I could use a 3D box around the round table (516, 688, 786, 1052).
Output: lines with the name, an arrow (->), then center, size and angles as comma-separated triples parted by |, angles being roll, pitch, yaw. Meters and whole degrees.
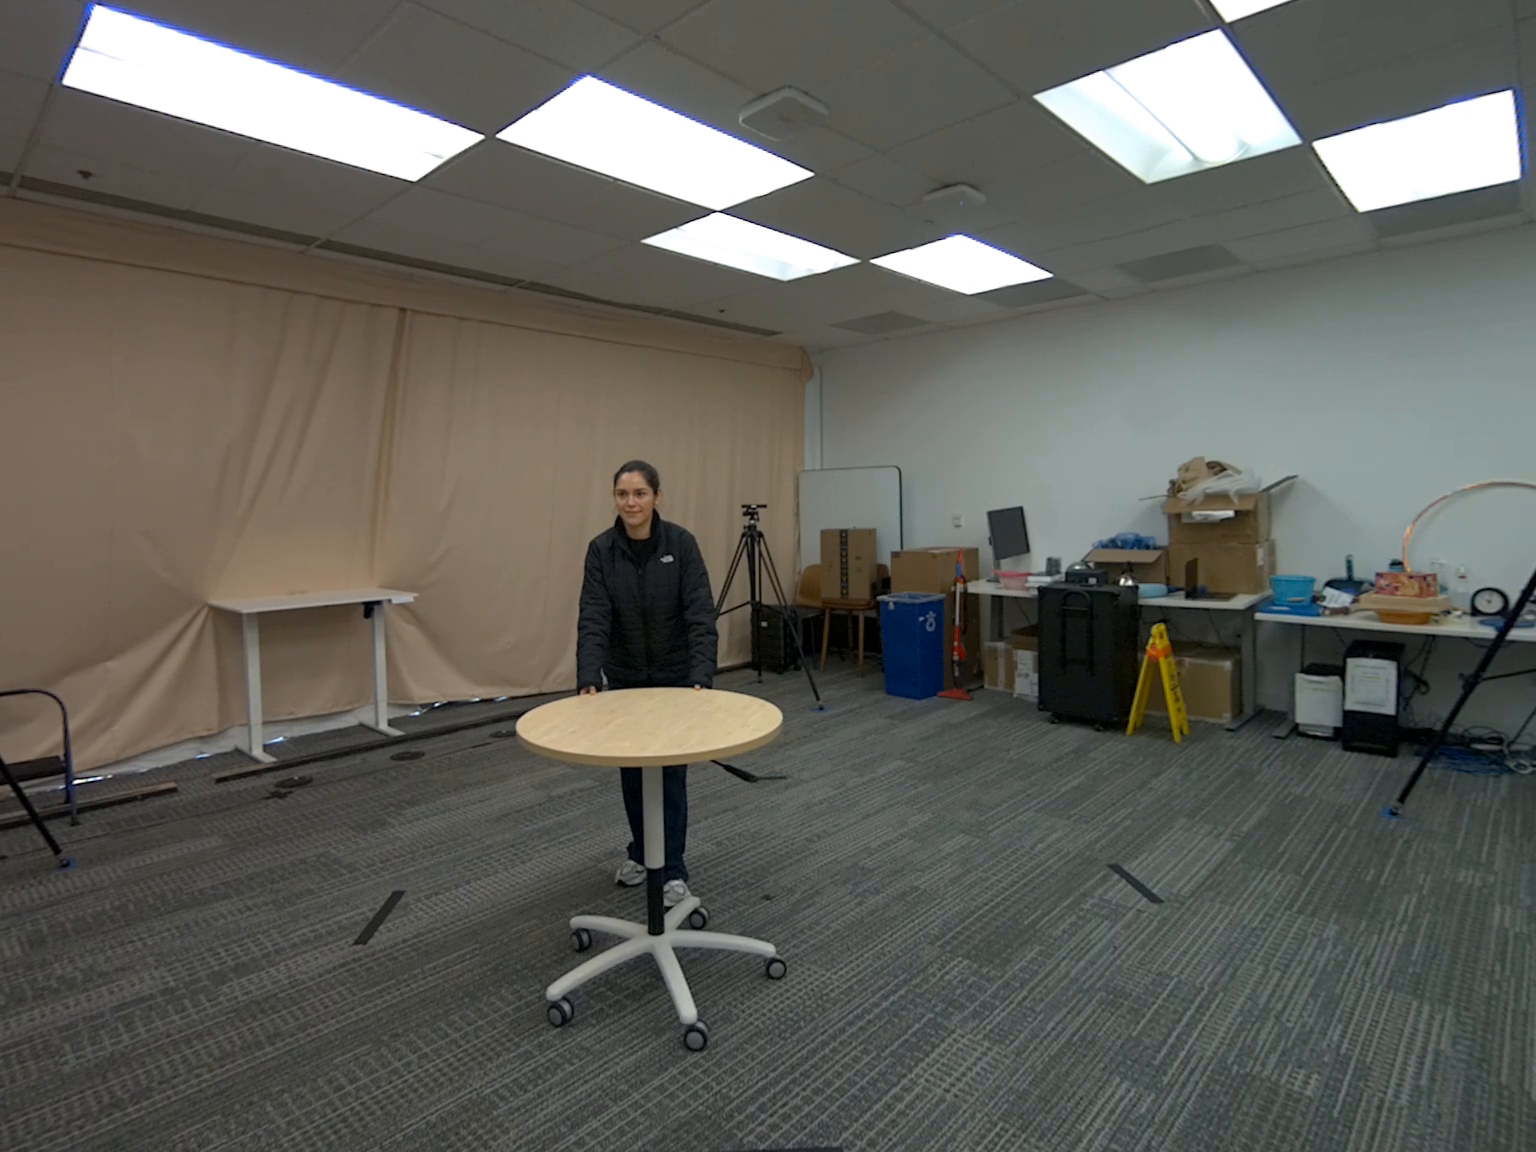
round table -> -0.307, 0.796, 2.476 | 0.784, 0.784, 0.788 | -1, 4, -2
